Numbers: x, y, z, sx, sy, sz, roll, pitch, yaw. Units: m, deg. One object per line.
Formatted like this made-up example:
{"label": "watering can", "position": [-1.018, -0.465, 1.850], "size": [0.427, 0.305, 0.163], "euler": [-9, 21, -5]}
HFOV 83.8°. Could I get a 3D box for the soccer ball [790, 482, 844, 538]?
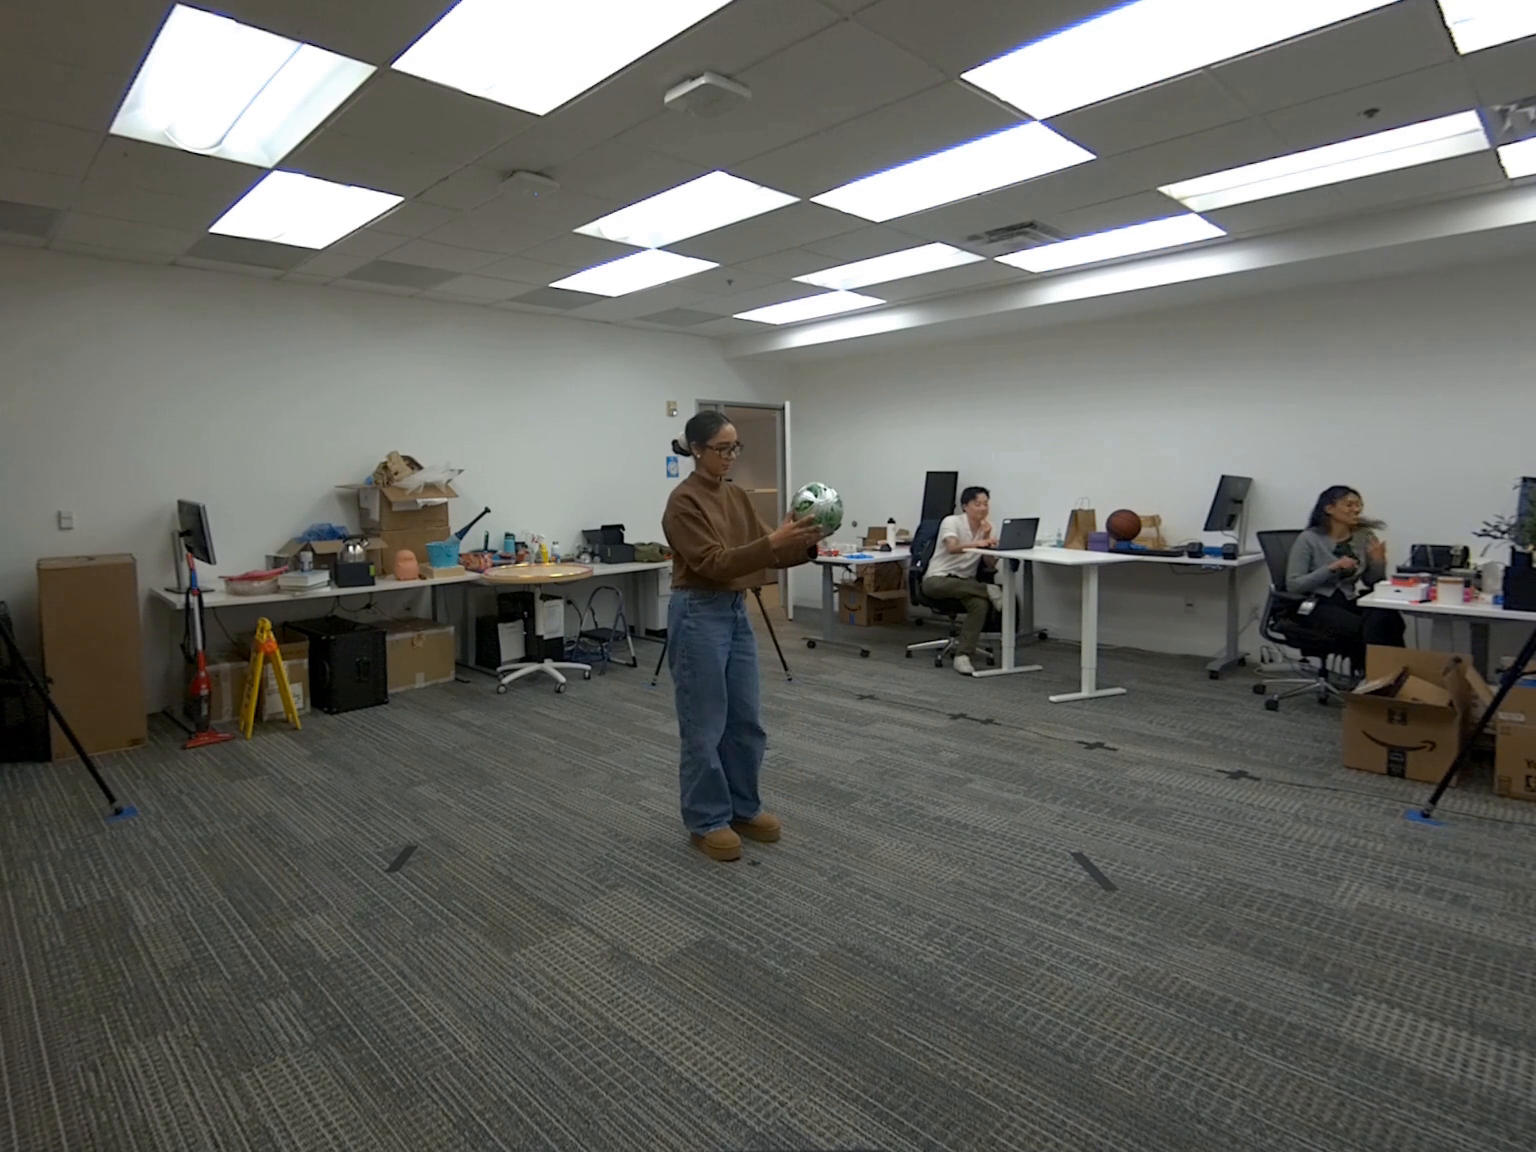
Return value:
{"label": "soccer ball", "position": [0.180, -0.231, 2.989], "size": [0.187, 0.187, 0.188], "euler": [-1, 5, -2]}
